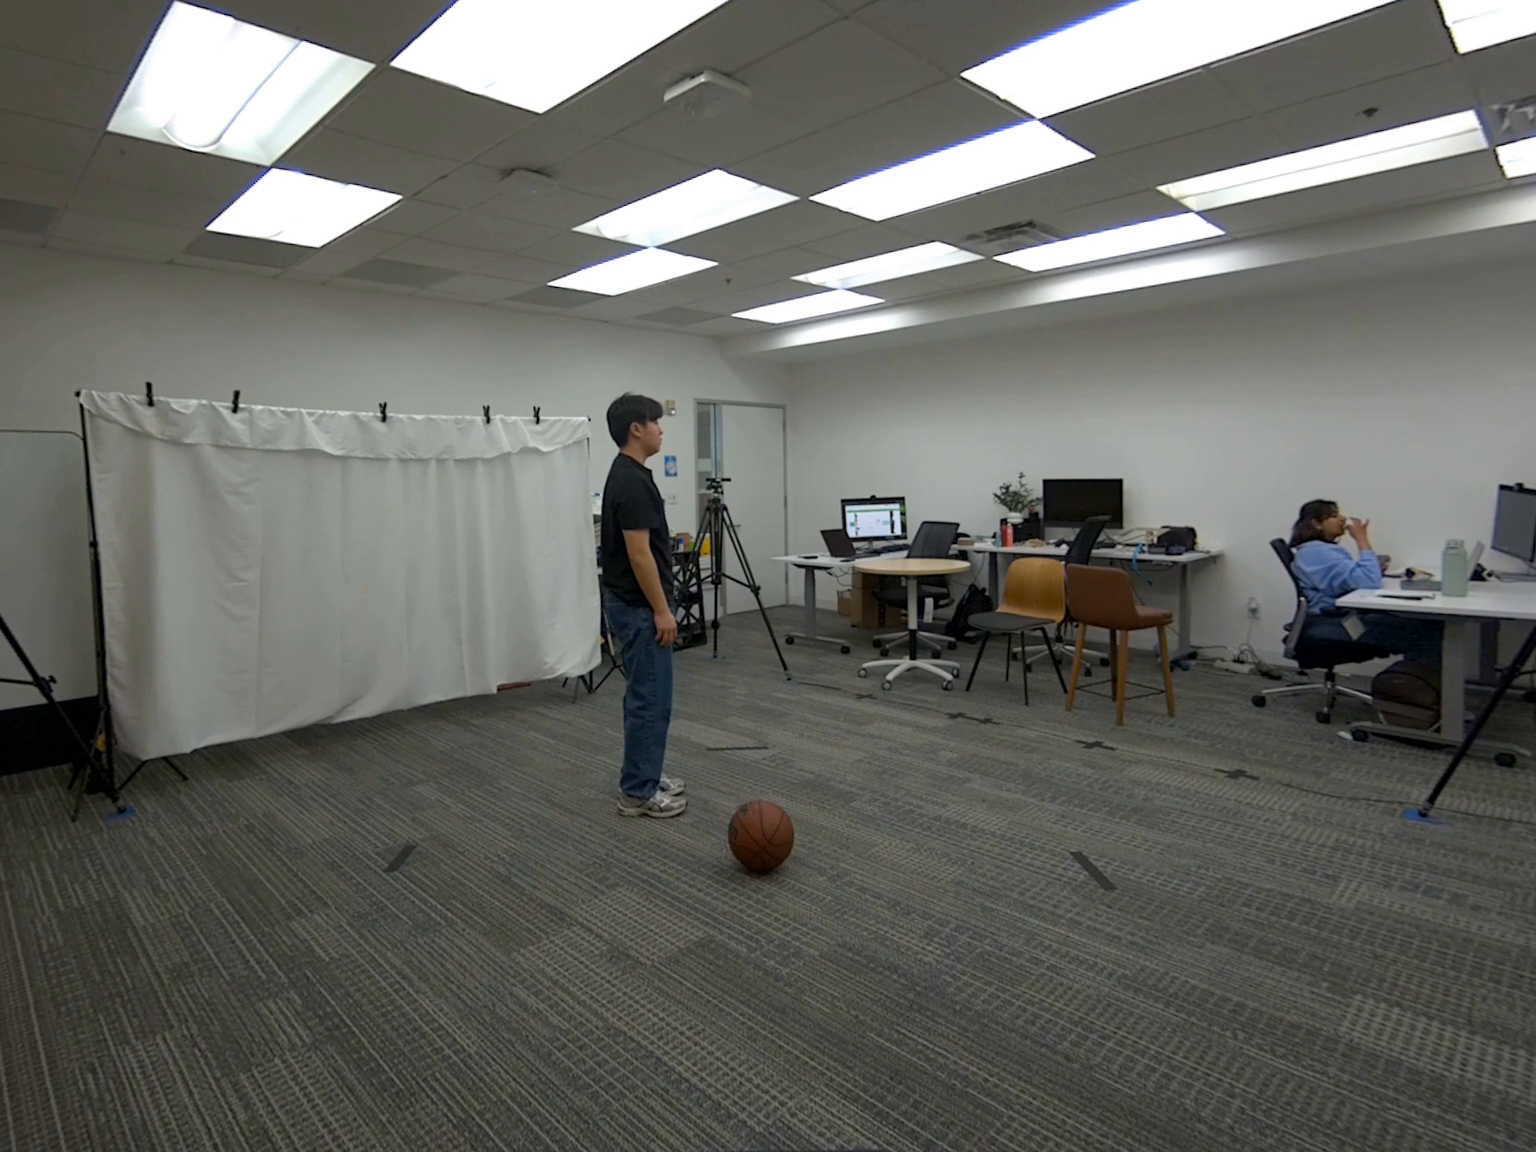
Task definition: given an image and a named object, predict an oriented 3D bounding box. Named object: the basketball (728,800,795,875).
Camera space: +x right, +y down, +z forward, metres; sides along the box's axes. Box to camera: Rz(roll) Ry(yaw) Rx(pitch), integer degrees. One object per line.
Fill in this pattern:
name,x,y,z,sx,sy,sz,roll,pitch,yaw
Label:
basketball,-0.024,0.925,3.060,0.236,0.235,0.237,-1,5,-2
